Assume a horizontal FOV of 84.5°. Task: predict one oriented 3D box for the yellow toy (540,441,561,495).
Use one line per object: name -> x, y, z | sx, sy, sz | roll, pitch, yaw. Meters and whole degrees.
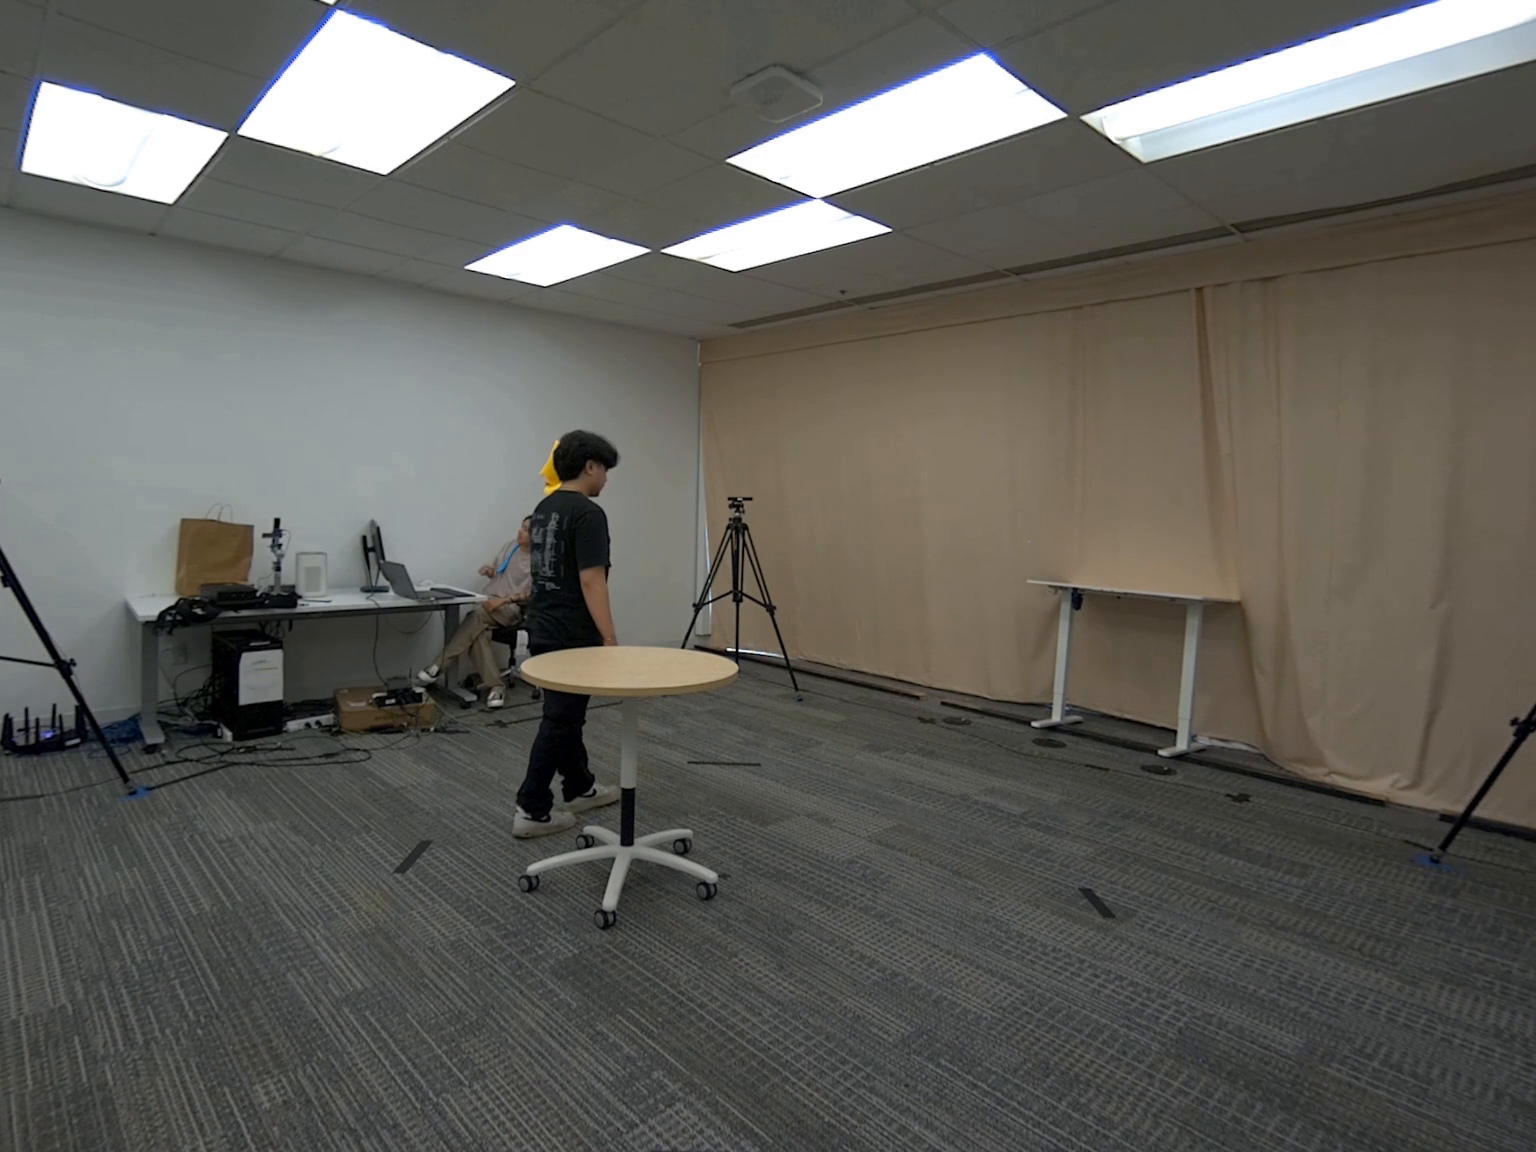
yellow toy -> -0.894, -0.471, 3.721 | 0.192, 0.229, 0.207 | 11, 8, -8
